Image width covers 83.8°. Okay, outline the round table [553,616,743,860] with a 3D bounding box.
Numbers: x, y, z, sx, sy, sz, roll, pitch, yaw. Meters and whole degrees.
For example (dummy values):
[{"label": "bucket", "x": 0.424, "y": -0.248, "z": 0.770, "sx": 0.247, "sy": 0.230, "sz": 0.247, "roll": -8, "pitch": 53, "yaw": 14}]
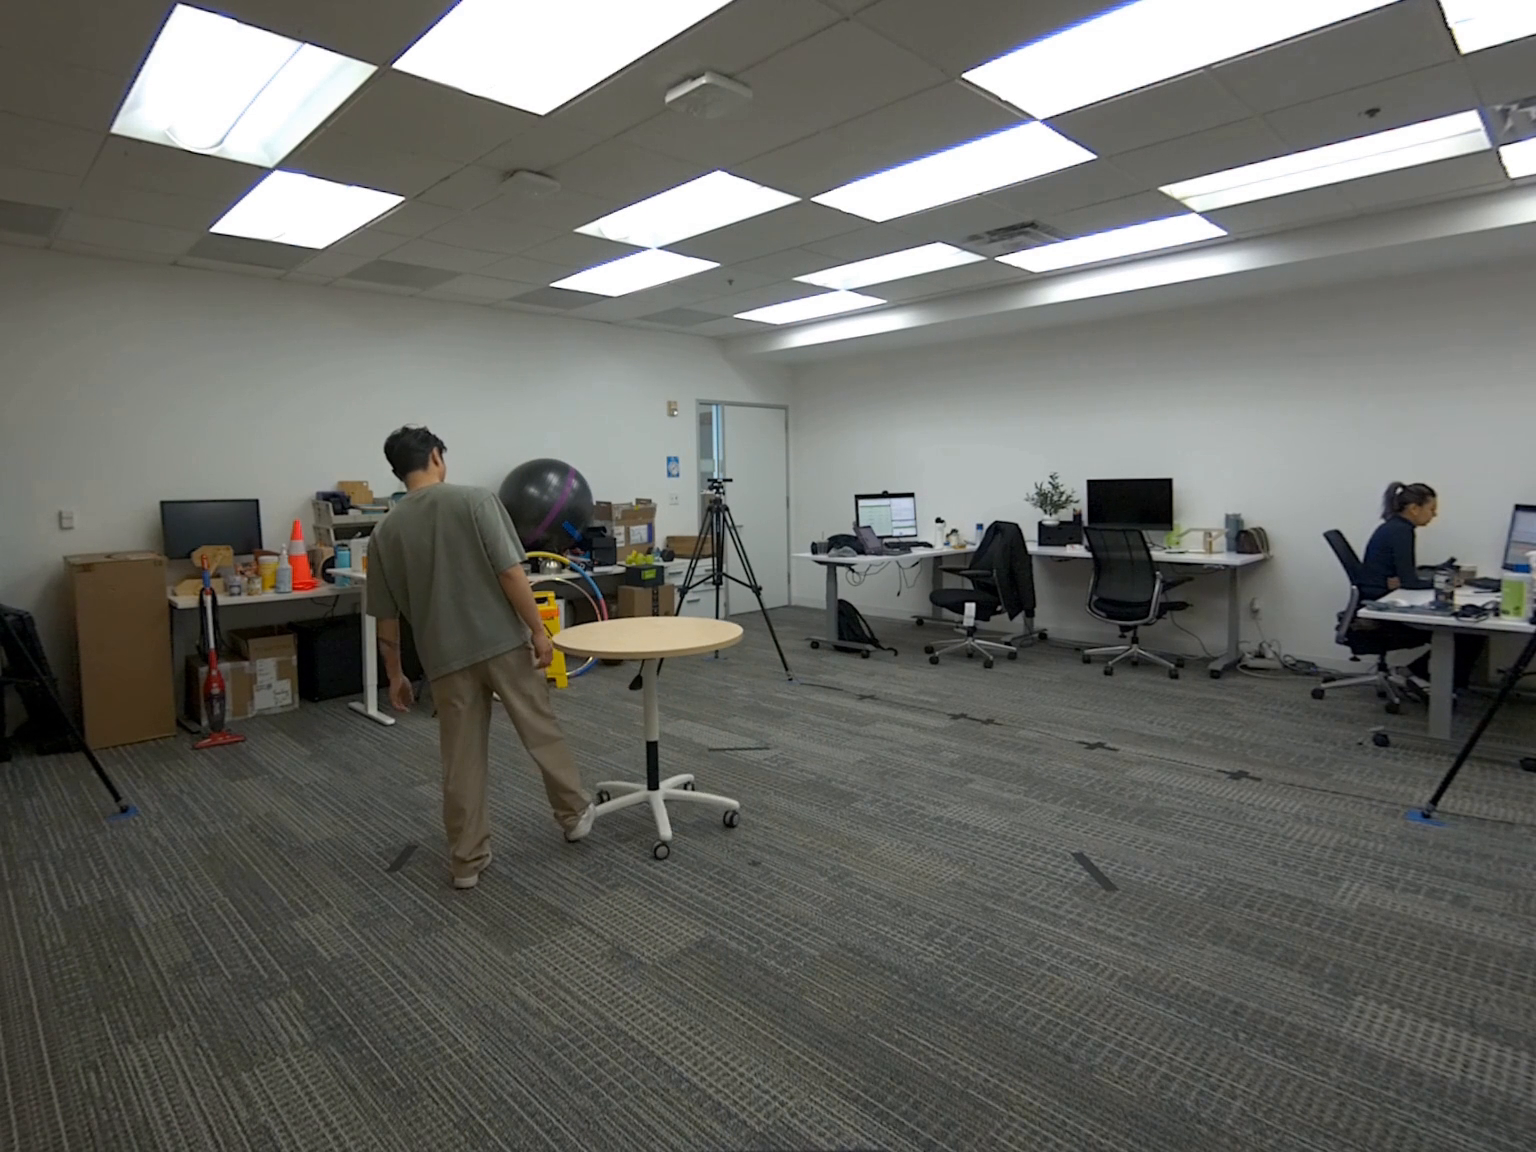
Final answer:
[{"label": "round table", "x": -0.470, "y": 0.617, "z": 3.456, "sx": 0.784, "sy": 0.784, "sz": 0.789, "roll": -2, "pitch": 4, "yaw": -2}]
